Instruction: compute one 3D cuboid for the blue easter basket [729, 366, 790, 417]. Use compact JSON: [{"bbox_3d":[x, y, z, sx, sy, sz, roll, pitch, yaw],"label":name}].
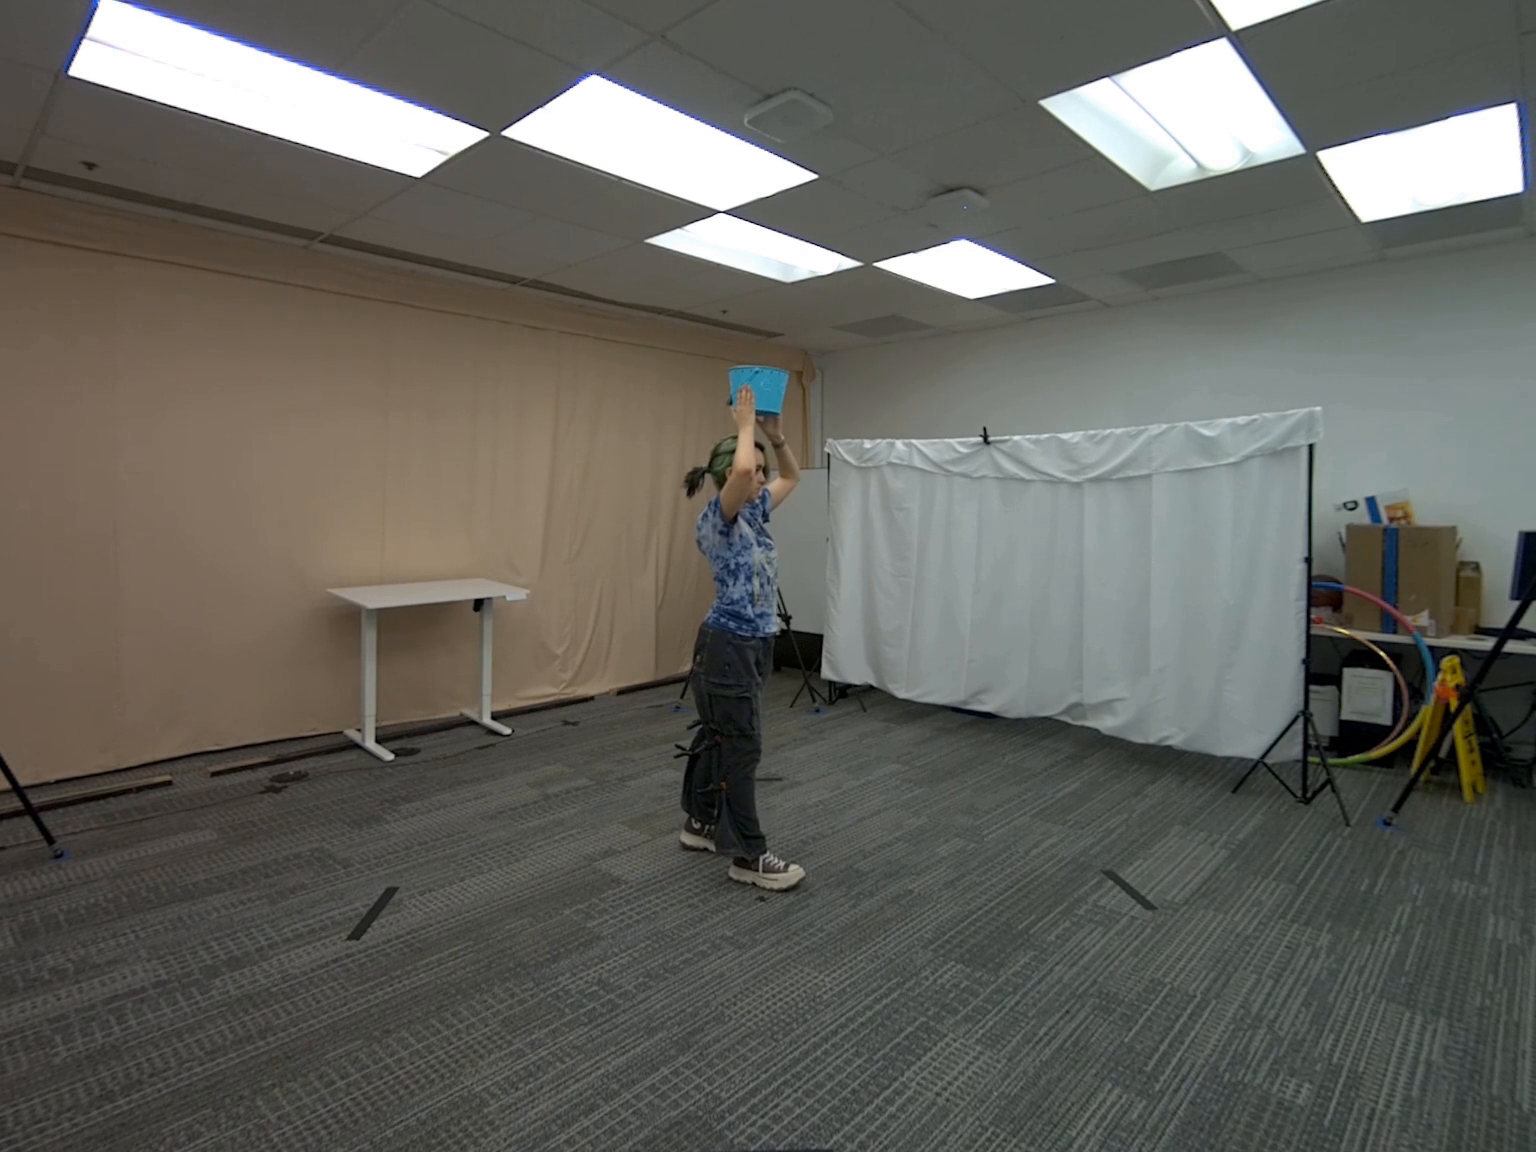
[{"bbox_3d":[-0.042,-0.686,3.146,0.243,0.155,0.244,2,3,-2],"label":"blue easter basket"}]
